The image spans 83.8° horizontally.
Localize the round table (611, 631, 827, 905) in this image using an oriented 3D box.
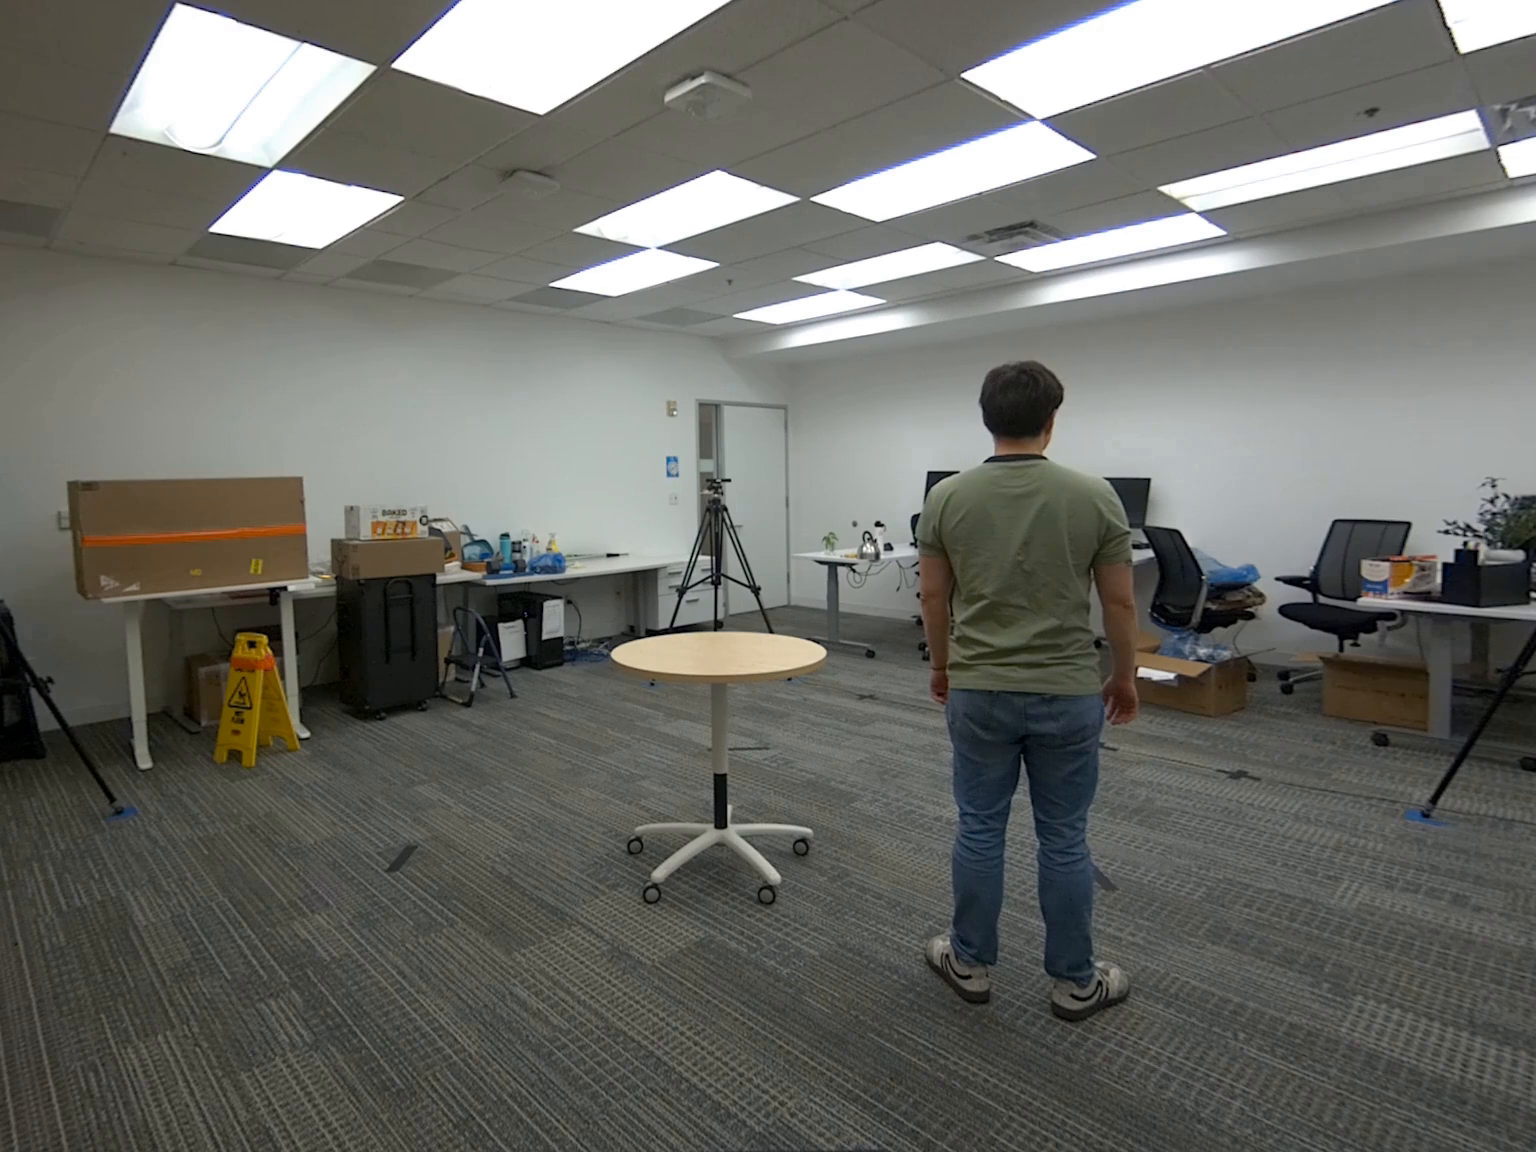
[{"bbox_3d":[-0.171,0.658,3.076,0.763,0.791,0.768,-1,5,-2],"label":"round table"}]
